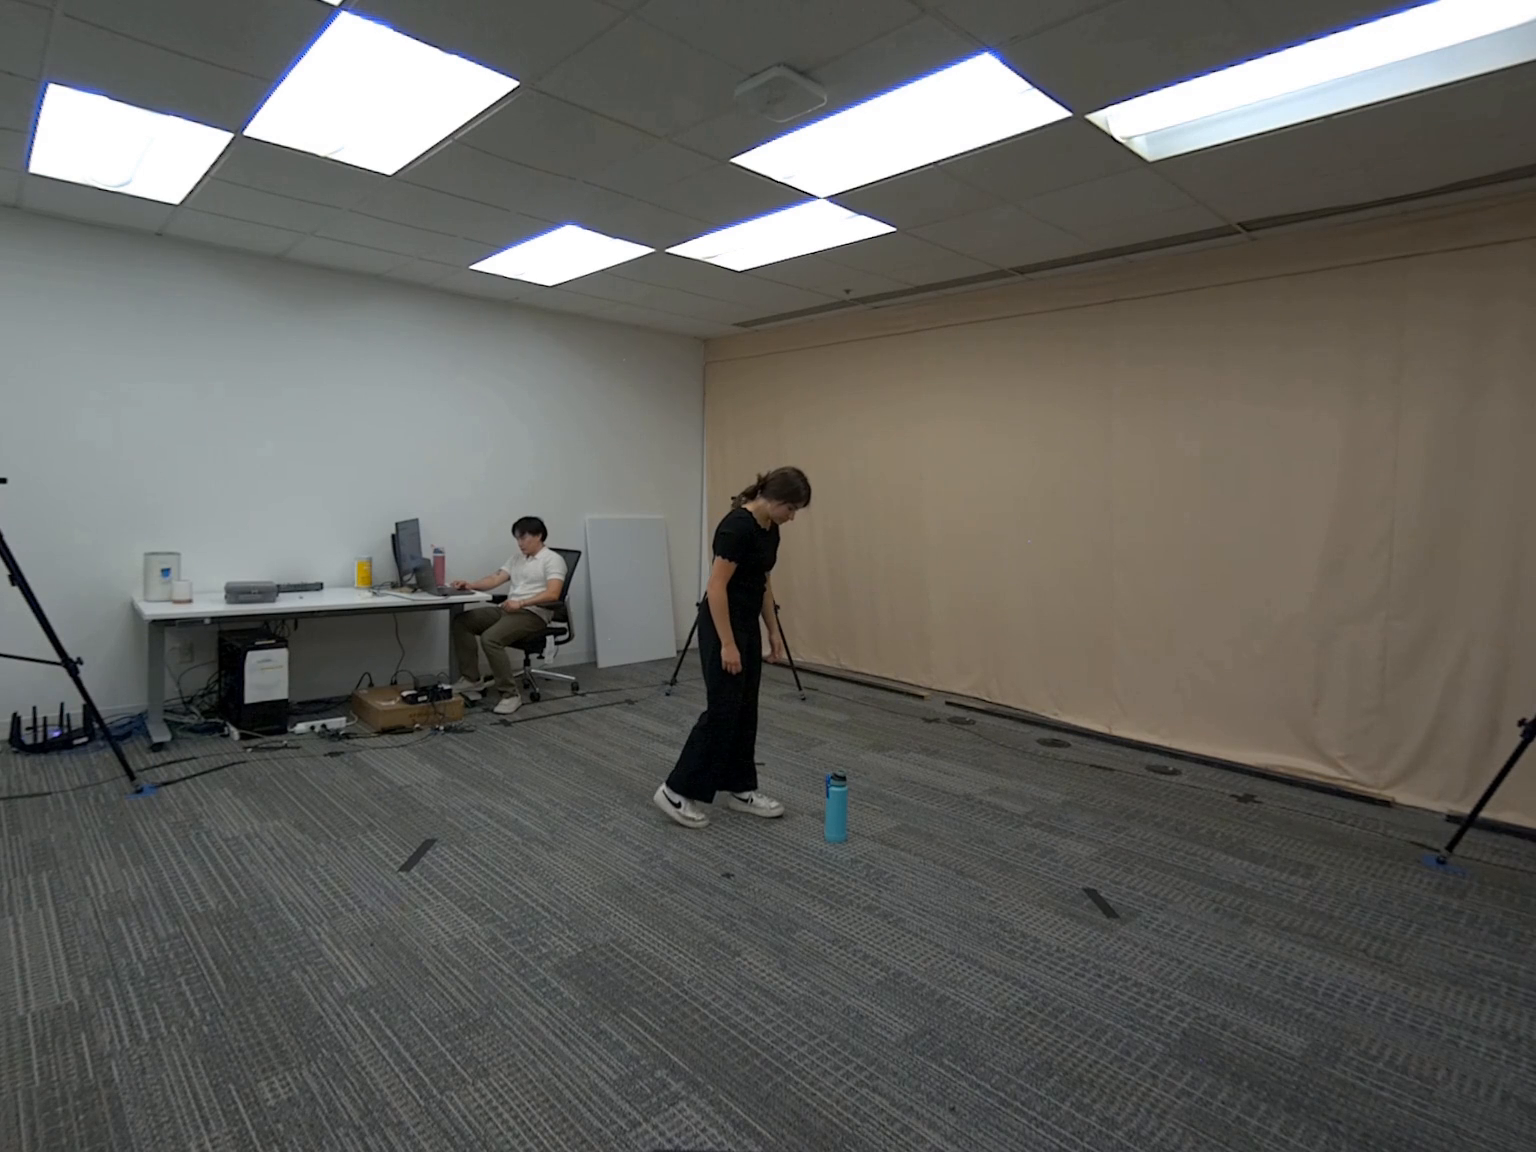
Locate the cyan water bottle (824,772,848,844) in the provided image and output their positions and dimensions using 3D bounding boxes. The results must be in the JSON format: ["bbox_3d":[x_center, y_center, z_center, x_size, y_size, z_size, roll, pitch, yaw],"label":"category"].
[{"bbox_3d":[0.273,0.946,3.464,0.092,0.283,0.092,1,2,-1],"label":"cyan water bottle"}]
